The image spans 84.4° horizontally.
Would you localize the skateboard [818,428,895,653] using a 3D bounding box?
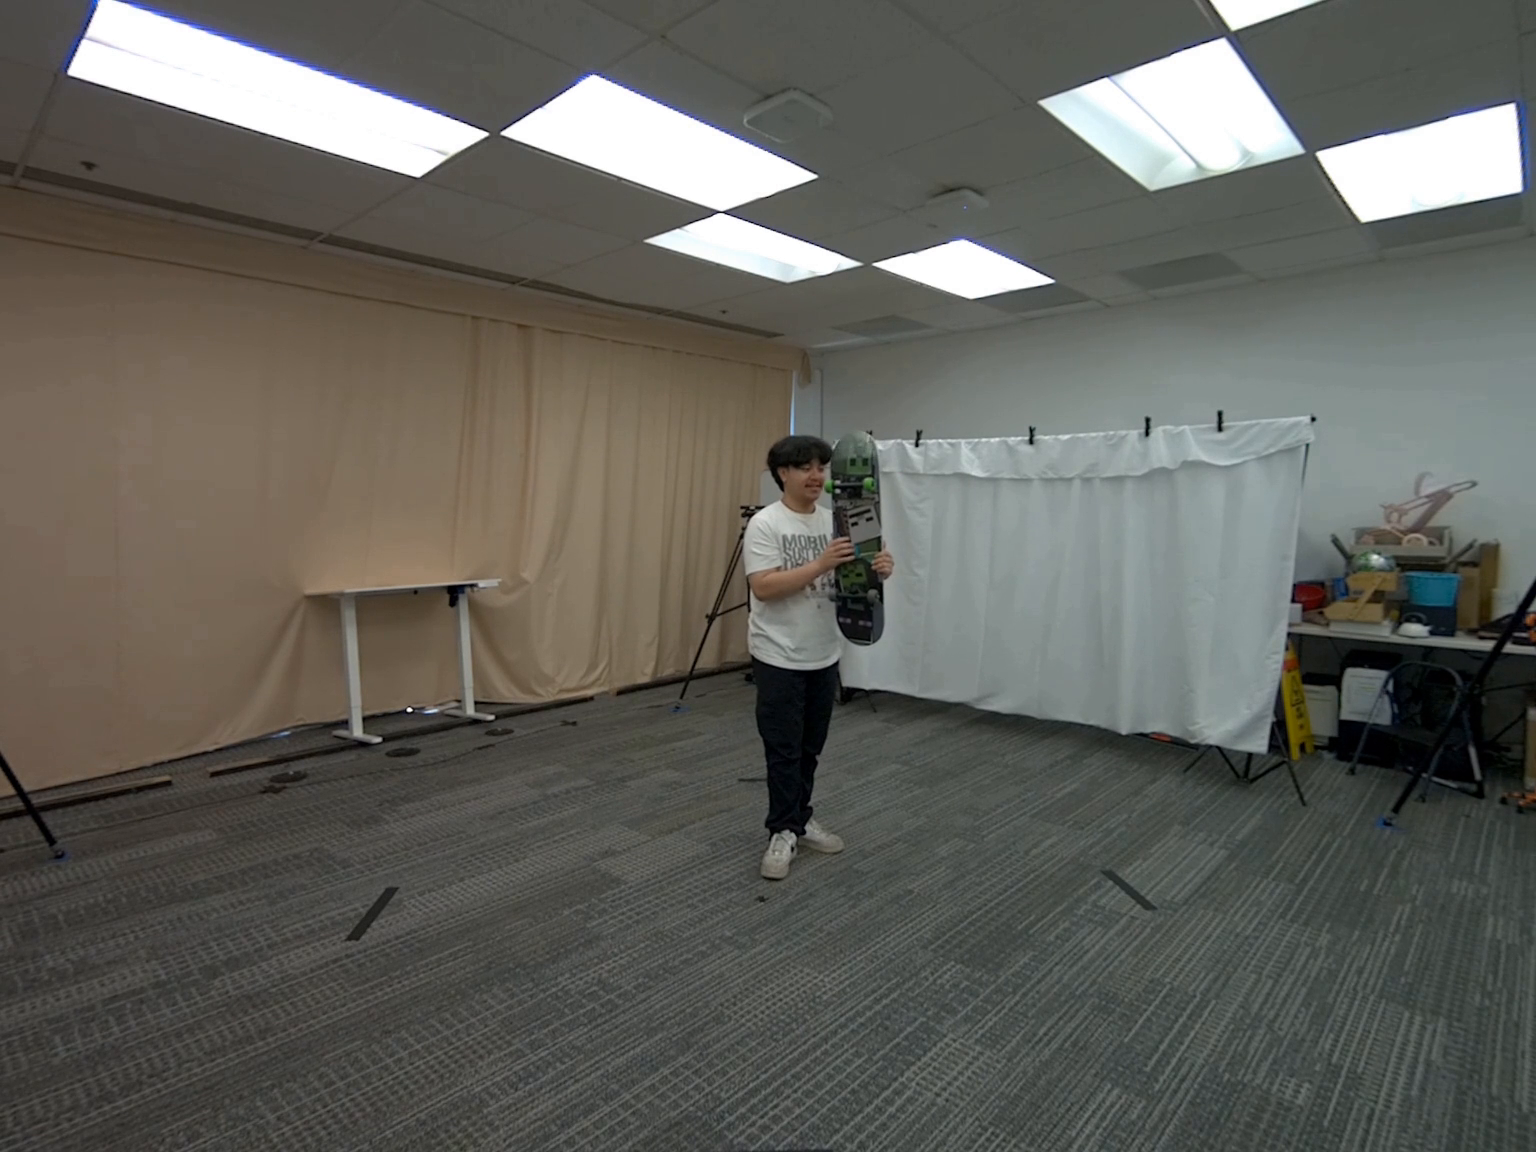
[{"bbox_3d":[0.318,-0.129,3.057,0.199,0.783,0.107,-1,5,35],"label":"skateboard"}]
